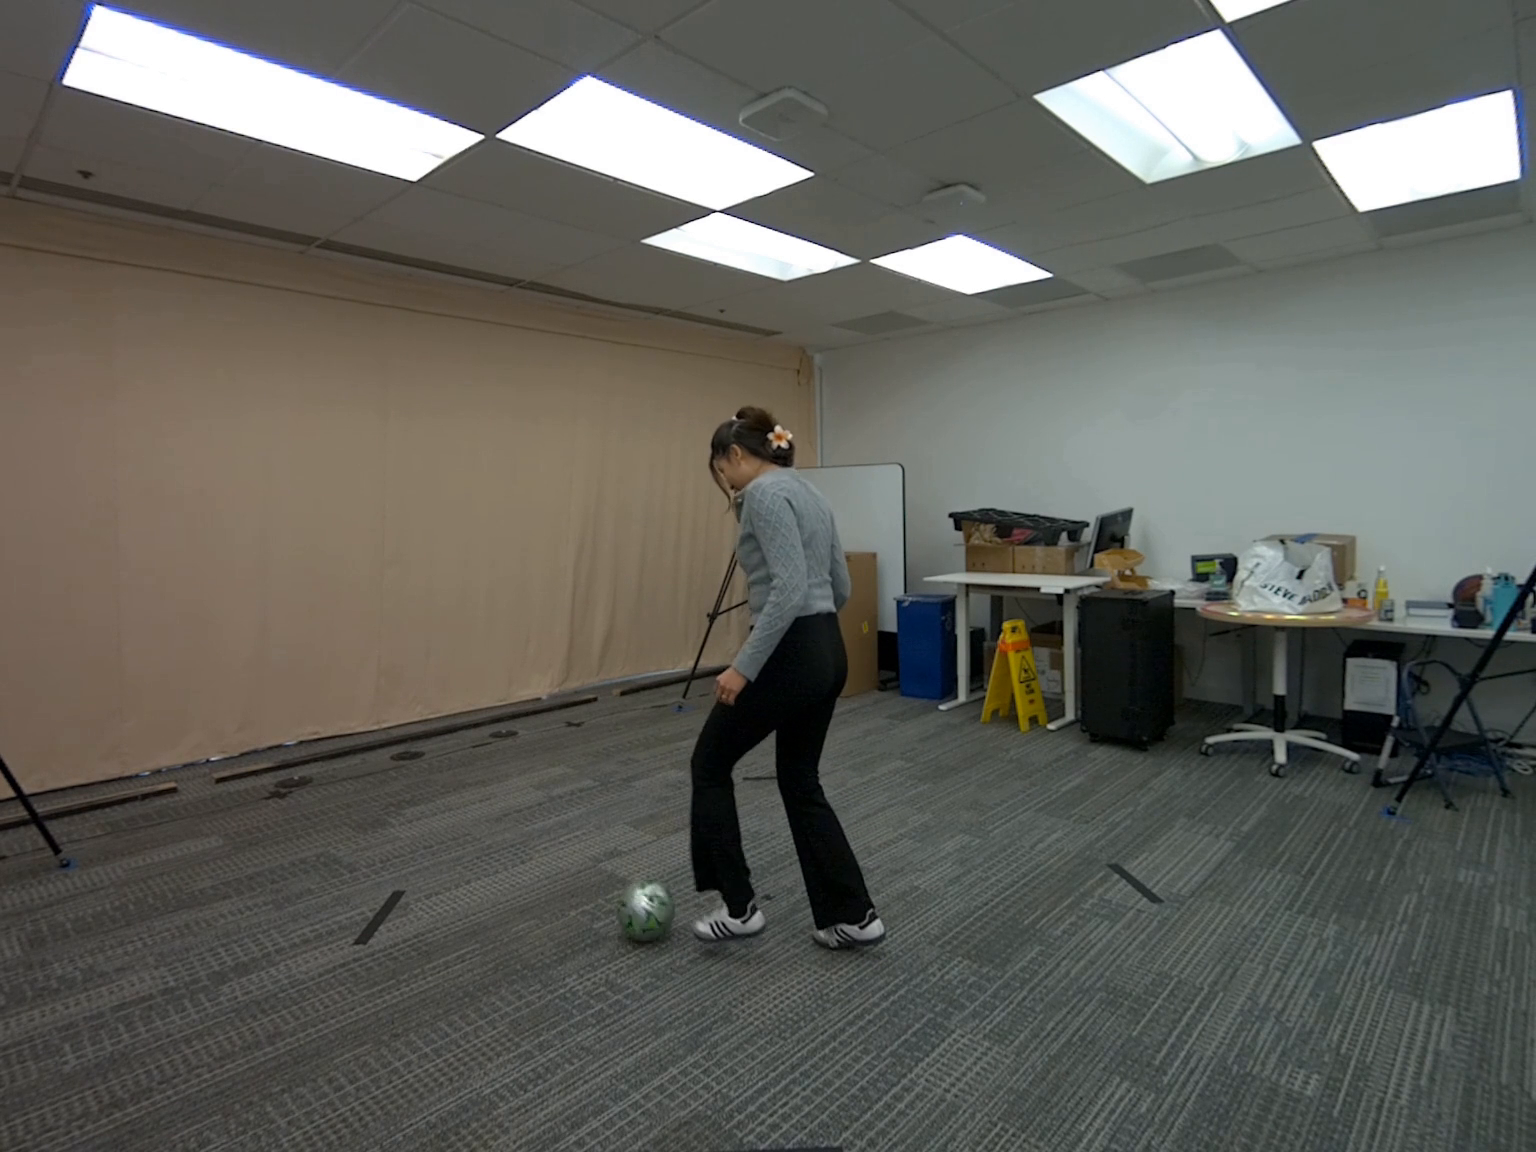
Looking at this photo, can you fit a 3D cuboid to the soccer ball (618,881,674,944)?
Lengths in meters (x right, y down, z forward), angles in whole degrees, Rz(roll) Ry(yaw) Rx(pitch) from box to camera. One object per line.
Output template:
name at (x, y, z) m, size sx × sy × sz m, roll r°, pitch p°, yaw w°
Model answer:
soccer ball at (-0.394, 1.080, 2.714) m, size 0.187 × 0.187 × 0.188 m, roll -1°, pitch 4°, yaw -2°
